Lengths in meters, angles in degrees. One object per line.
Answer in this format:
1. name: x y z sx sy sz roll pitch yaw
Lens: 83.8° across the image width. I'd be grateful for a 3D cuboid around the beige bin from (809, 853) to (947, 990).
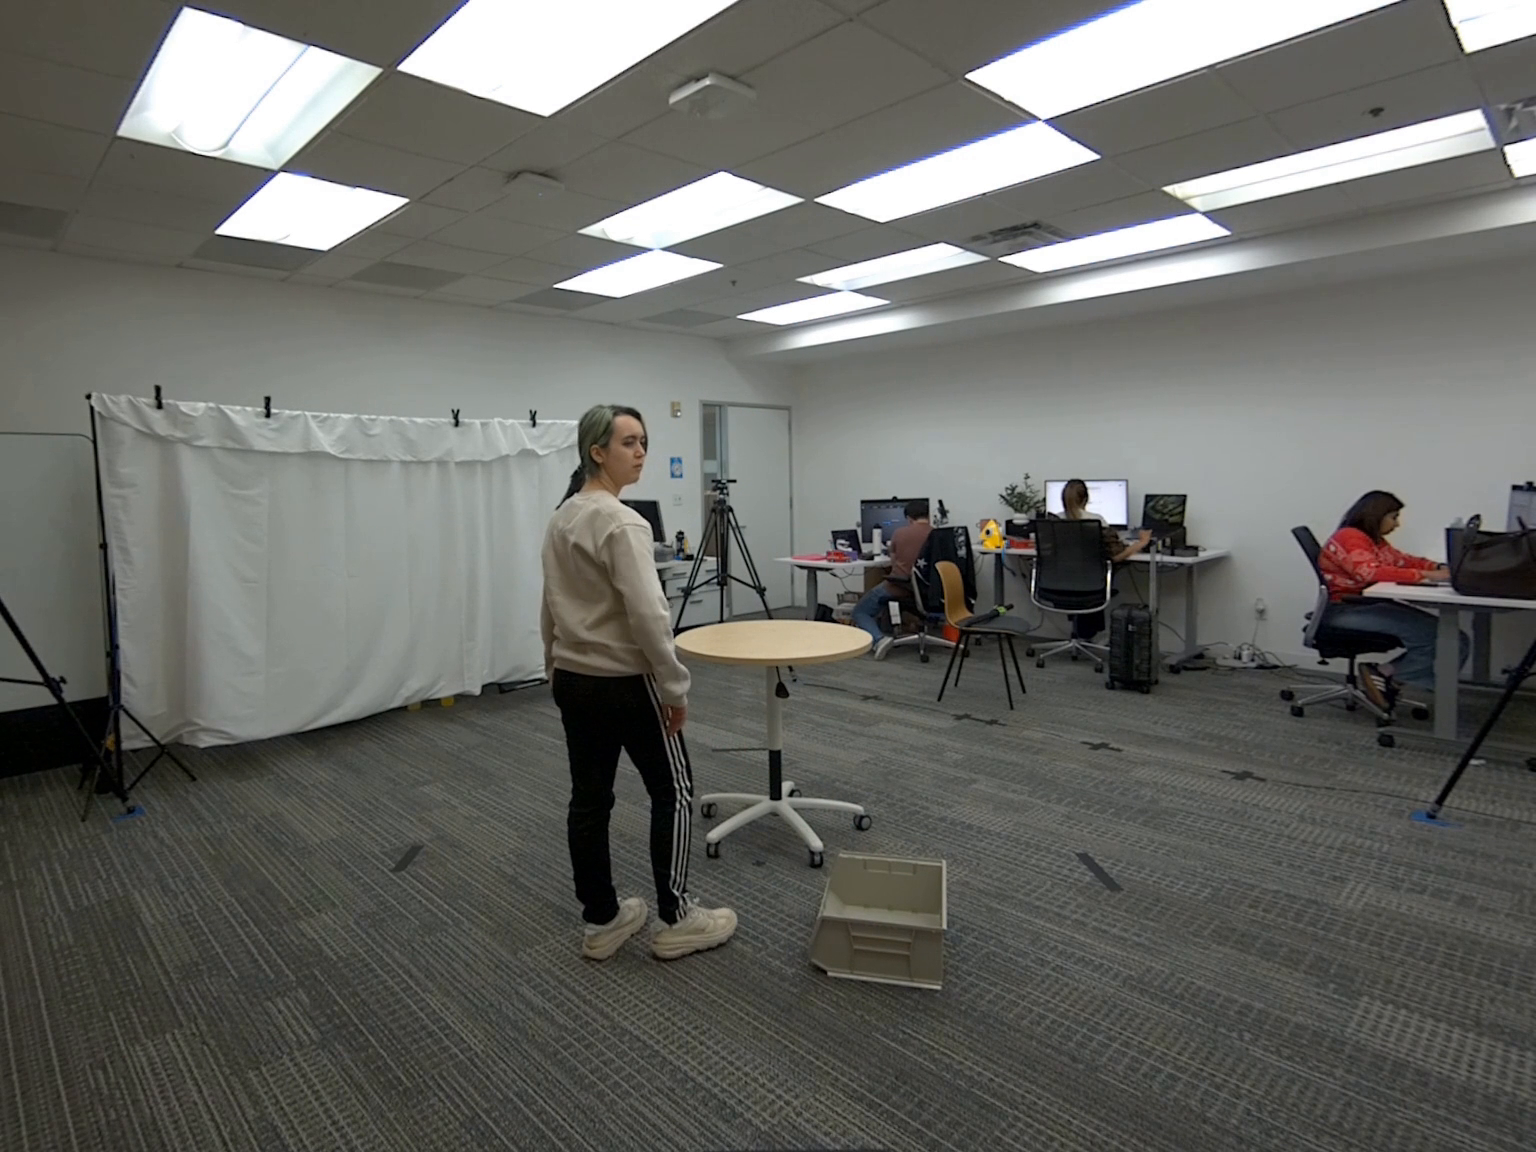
1. beige bin: 0.349 1.016 2.554 0.382 0.188 0.419 1 6 12
